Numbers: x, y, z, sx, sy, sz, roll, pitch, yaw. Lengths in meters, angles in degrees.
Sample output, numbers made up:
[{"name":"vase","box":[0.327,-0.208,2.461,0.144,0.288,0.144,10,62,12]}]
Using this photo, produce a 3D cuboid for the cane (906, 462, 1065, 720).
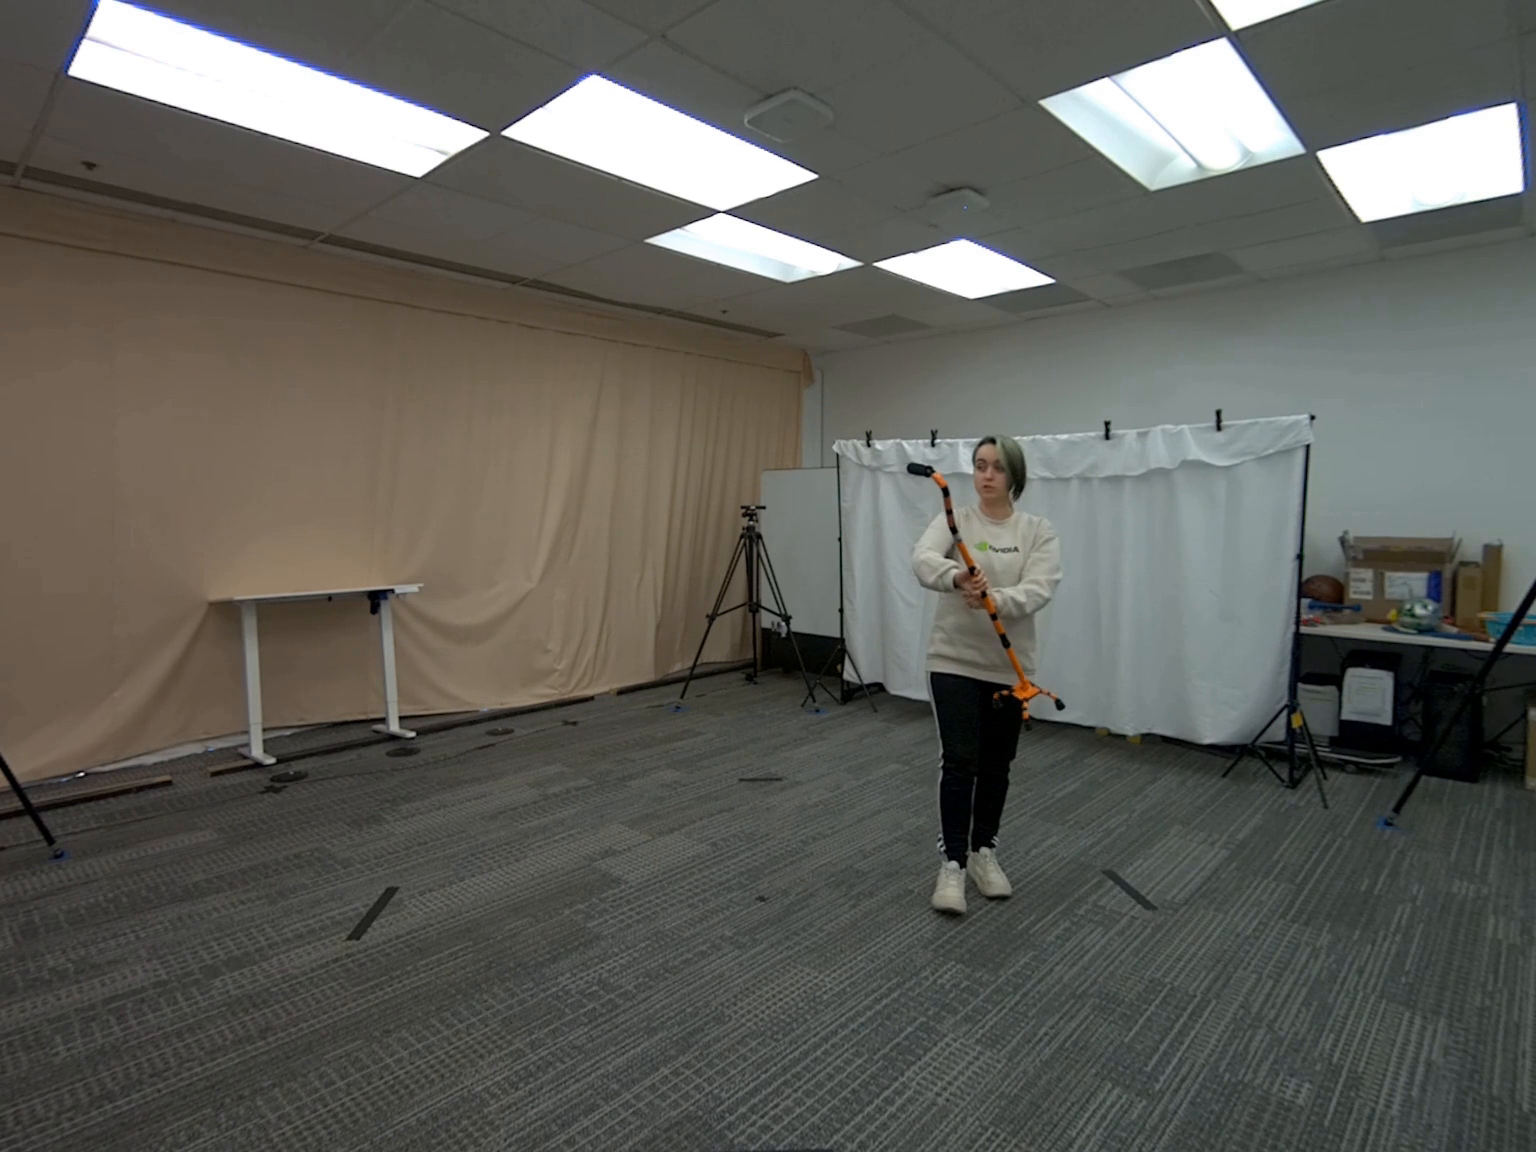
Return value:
[{"name":"cane","box":[0.659,0.059,2.626,0.150,0.891,0.212,-29,19,-12]}]
